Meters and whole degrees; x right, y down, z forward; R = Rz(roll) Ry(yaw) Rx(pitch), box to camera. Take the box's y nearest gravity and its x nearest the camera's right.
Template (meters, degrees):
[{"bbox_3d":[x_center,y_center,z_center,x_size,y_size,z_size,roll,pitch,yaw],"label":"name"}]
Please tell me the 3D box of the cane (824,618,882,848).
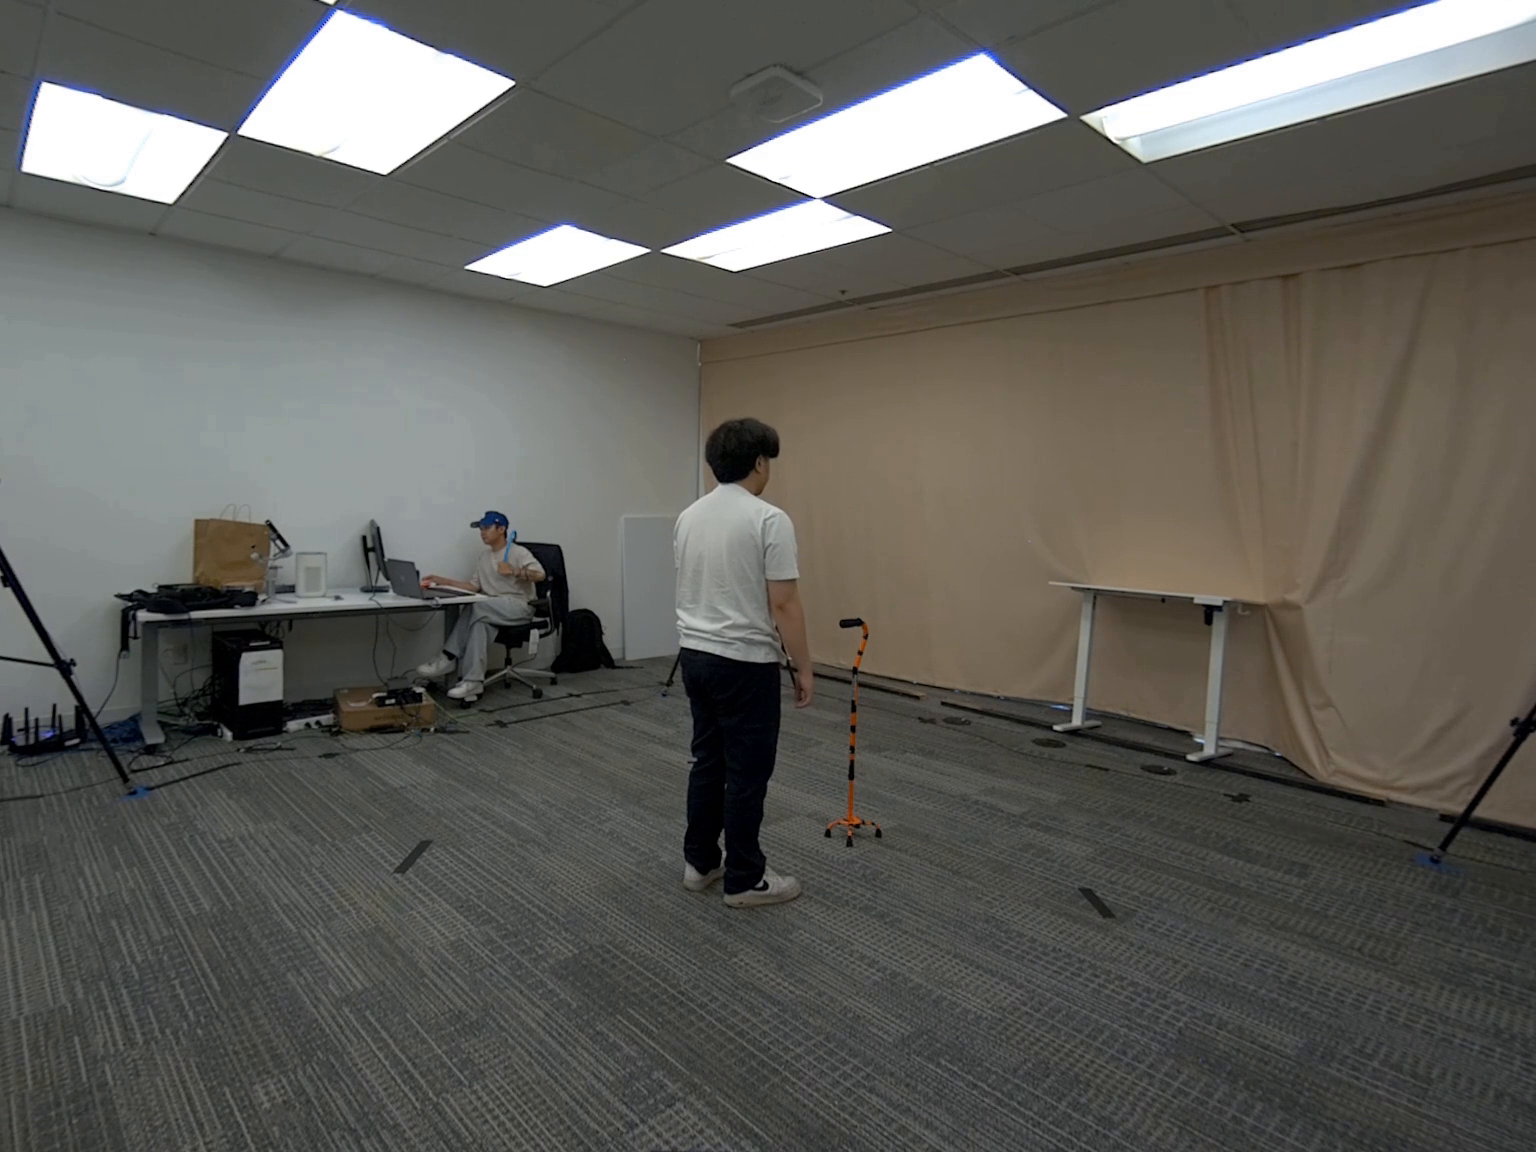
[{"bbox_3d":[0.356,0.632,3.490,0.201,0.907,0.155,0,2,-43],"label":"cane"}]
